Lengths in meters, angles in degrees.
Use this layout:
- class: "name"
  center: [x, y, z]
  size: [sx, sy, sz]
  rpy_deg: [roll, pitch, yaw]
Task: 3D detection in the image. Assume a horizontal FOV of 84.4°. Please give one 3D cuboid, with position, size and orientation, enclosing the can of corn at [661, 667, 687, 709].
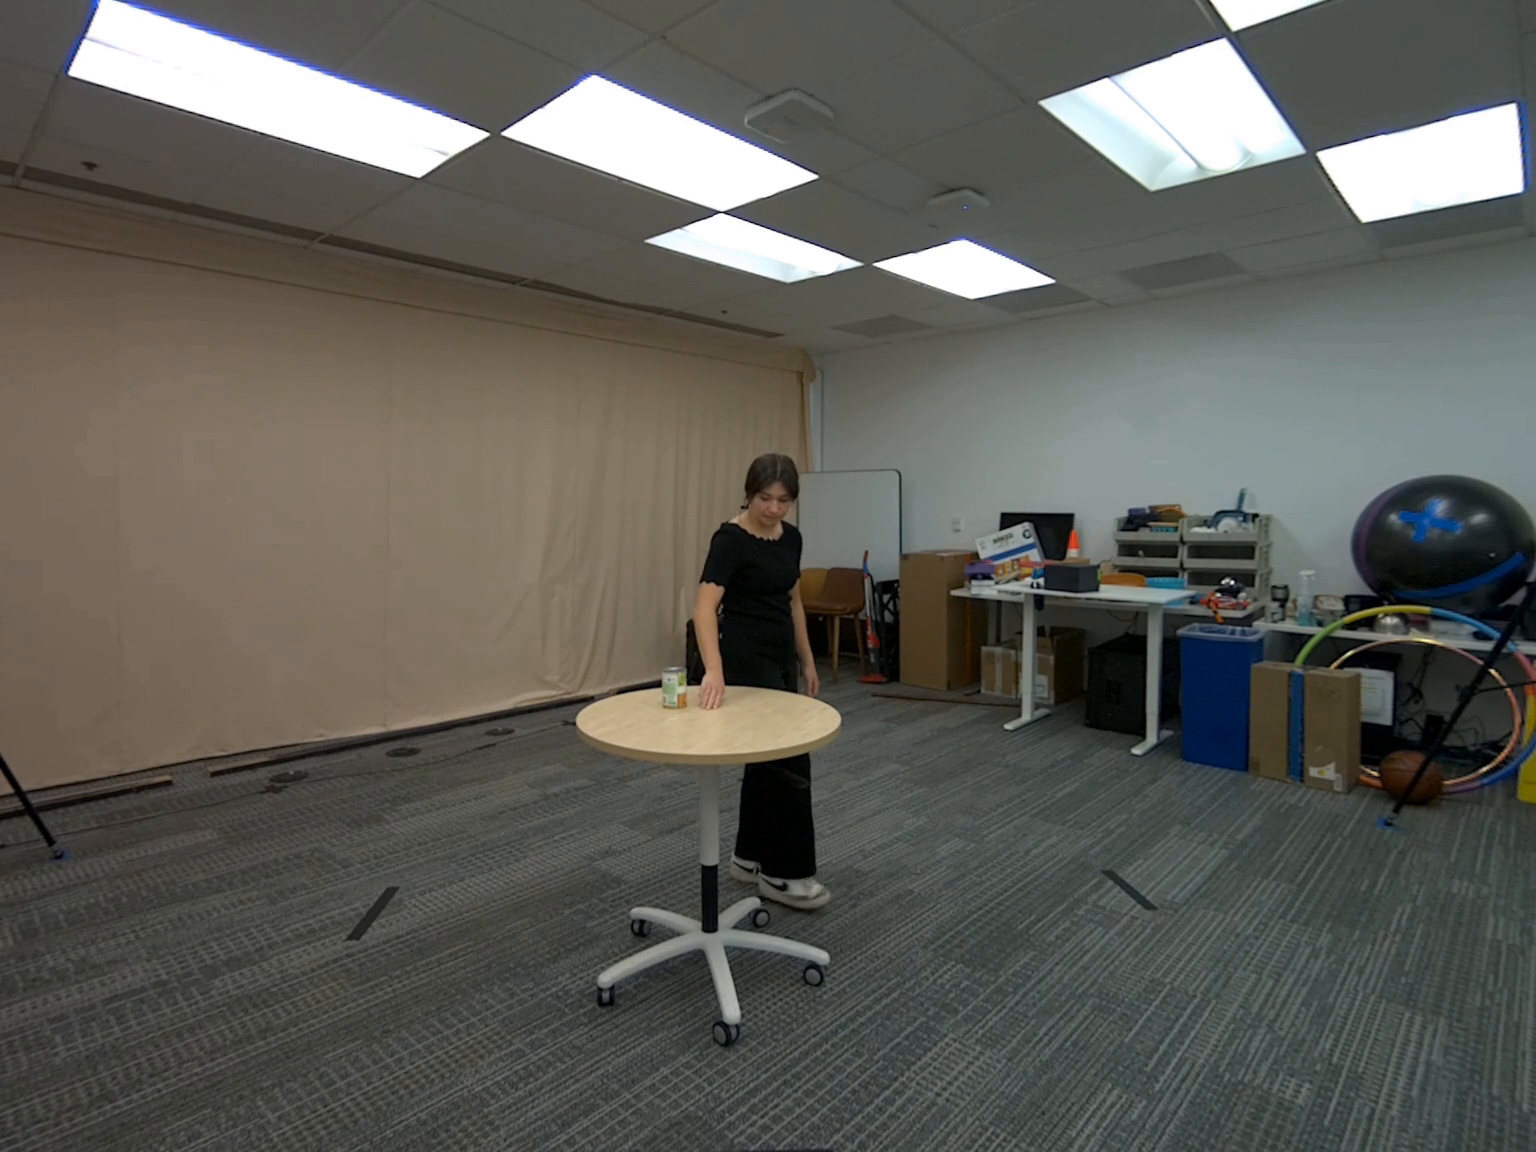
- class: "can of corn"
  center: [-0.283, 0.341, 2.549]
  size: [0.074, 0.111, 0.074]
  rpy_deg: [-1, 2, -2]
